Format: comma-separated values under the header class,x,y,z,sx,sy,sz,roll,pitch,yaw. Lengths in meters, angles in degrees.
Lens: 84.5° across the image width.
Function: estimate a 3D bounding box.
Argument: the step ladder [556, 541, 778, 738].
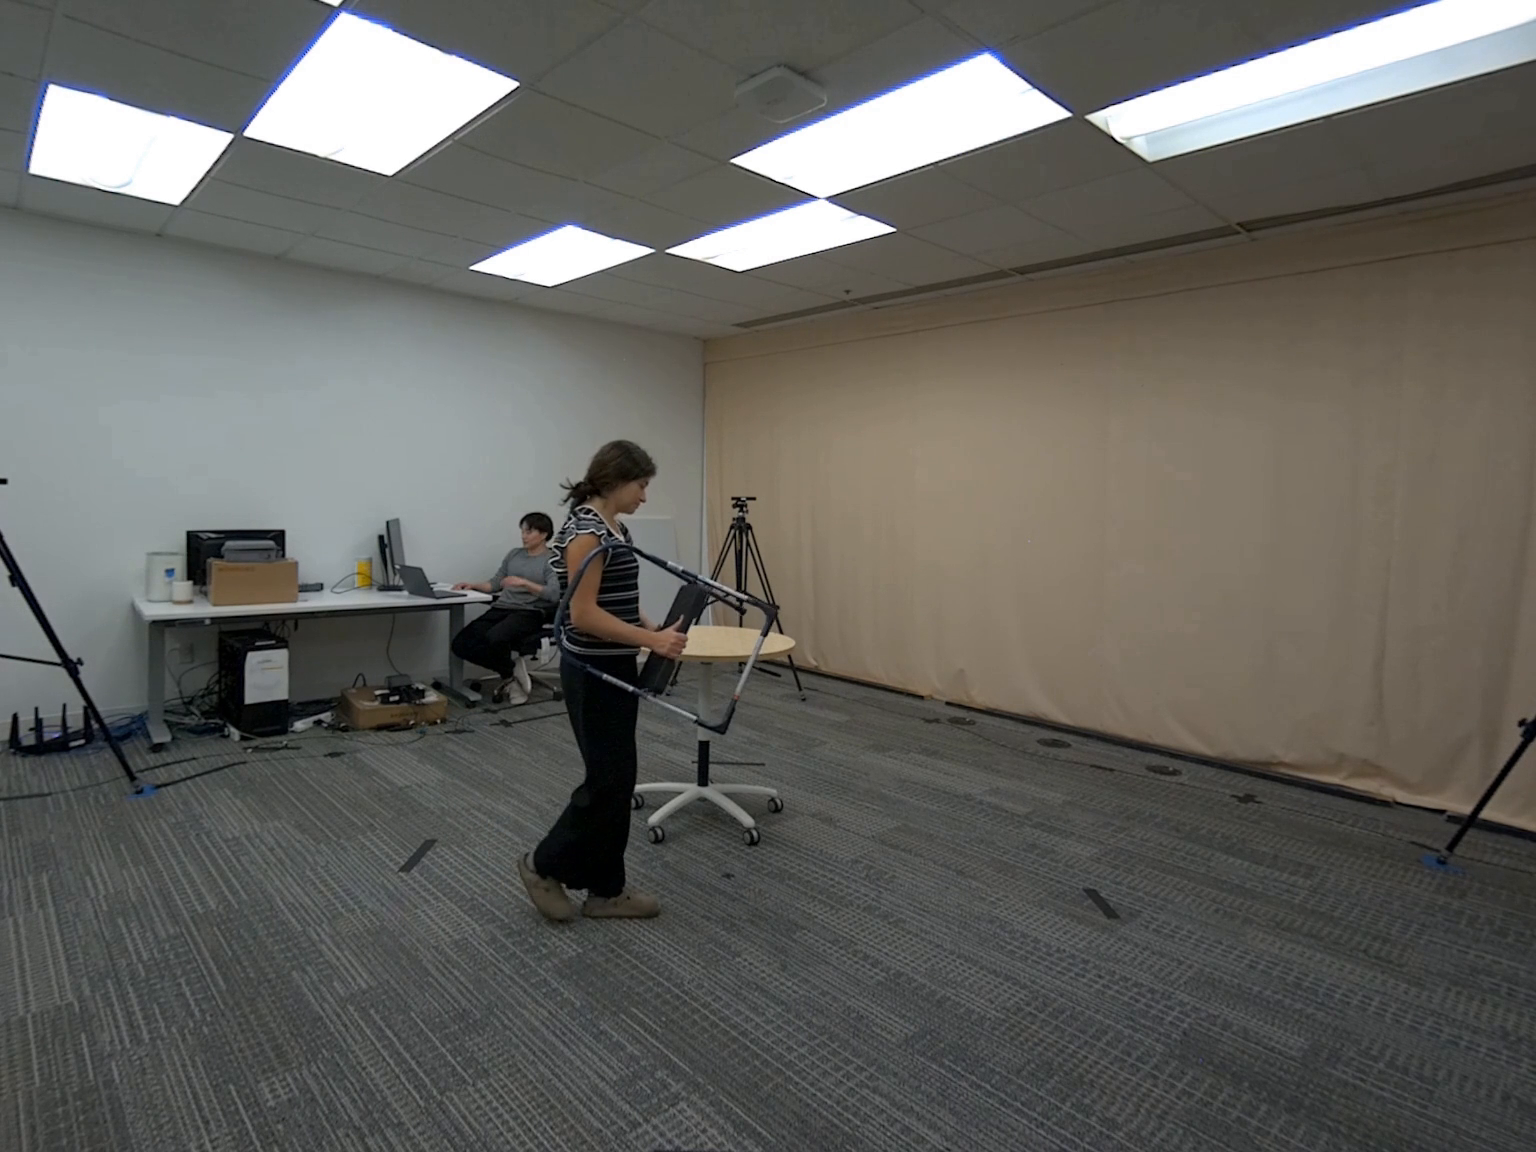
class,x,y,z,sx,sy,sz,roll,pitch,yaw
step ladder,-0.369,0.168,2.636,0.595,0.432,0.354,27,-12,-18
